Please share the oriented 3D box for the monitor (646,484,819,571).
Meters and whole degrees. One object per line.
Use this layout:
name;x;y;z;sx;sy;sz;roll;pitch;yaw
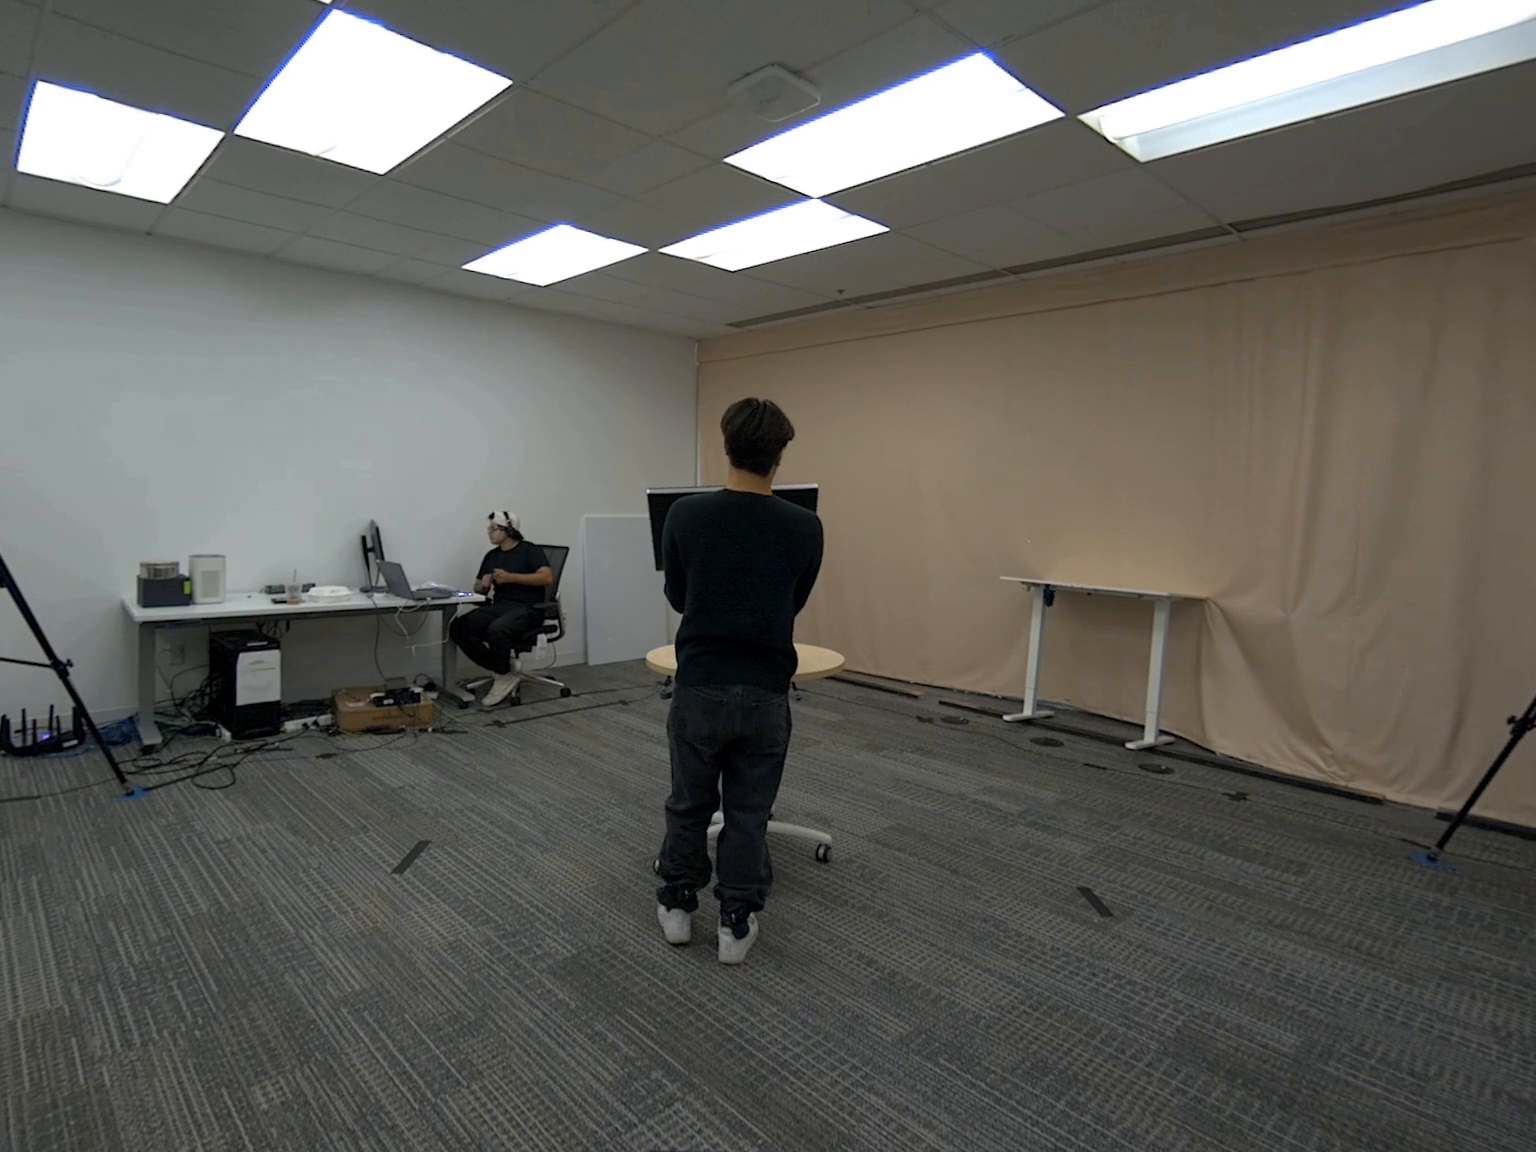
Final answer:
monitor;-0.109;-0.056;2.863;0.538;0.512;0.191;-3;32;-1
